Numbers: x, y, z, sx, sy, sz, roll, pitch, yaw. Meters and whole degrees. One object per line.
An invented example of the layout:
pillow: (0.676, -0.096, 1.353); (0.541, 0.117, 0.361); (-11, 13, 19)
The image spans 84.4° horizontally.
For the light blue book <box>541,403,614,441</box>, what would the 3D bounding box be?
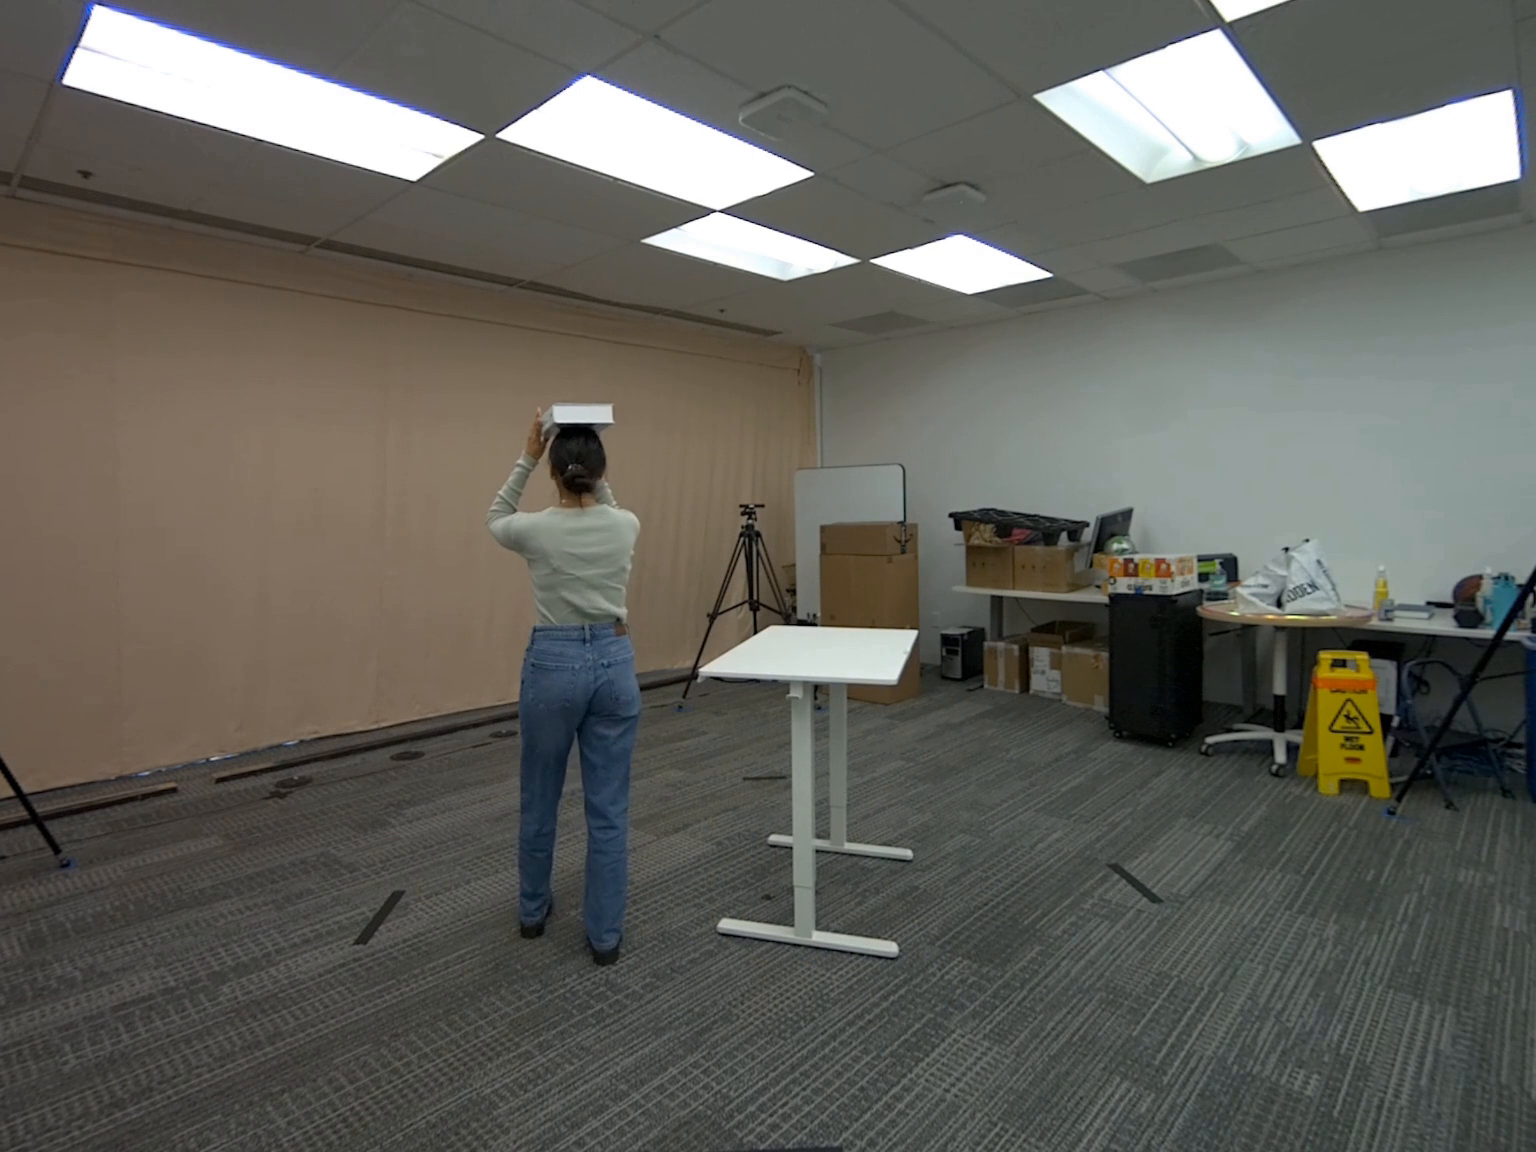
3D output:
light blue book: (-0.600, -0.492, 2.640); (0.188, 0.059, 0.266); (-6, 3, -20)
